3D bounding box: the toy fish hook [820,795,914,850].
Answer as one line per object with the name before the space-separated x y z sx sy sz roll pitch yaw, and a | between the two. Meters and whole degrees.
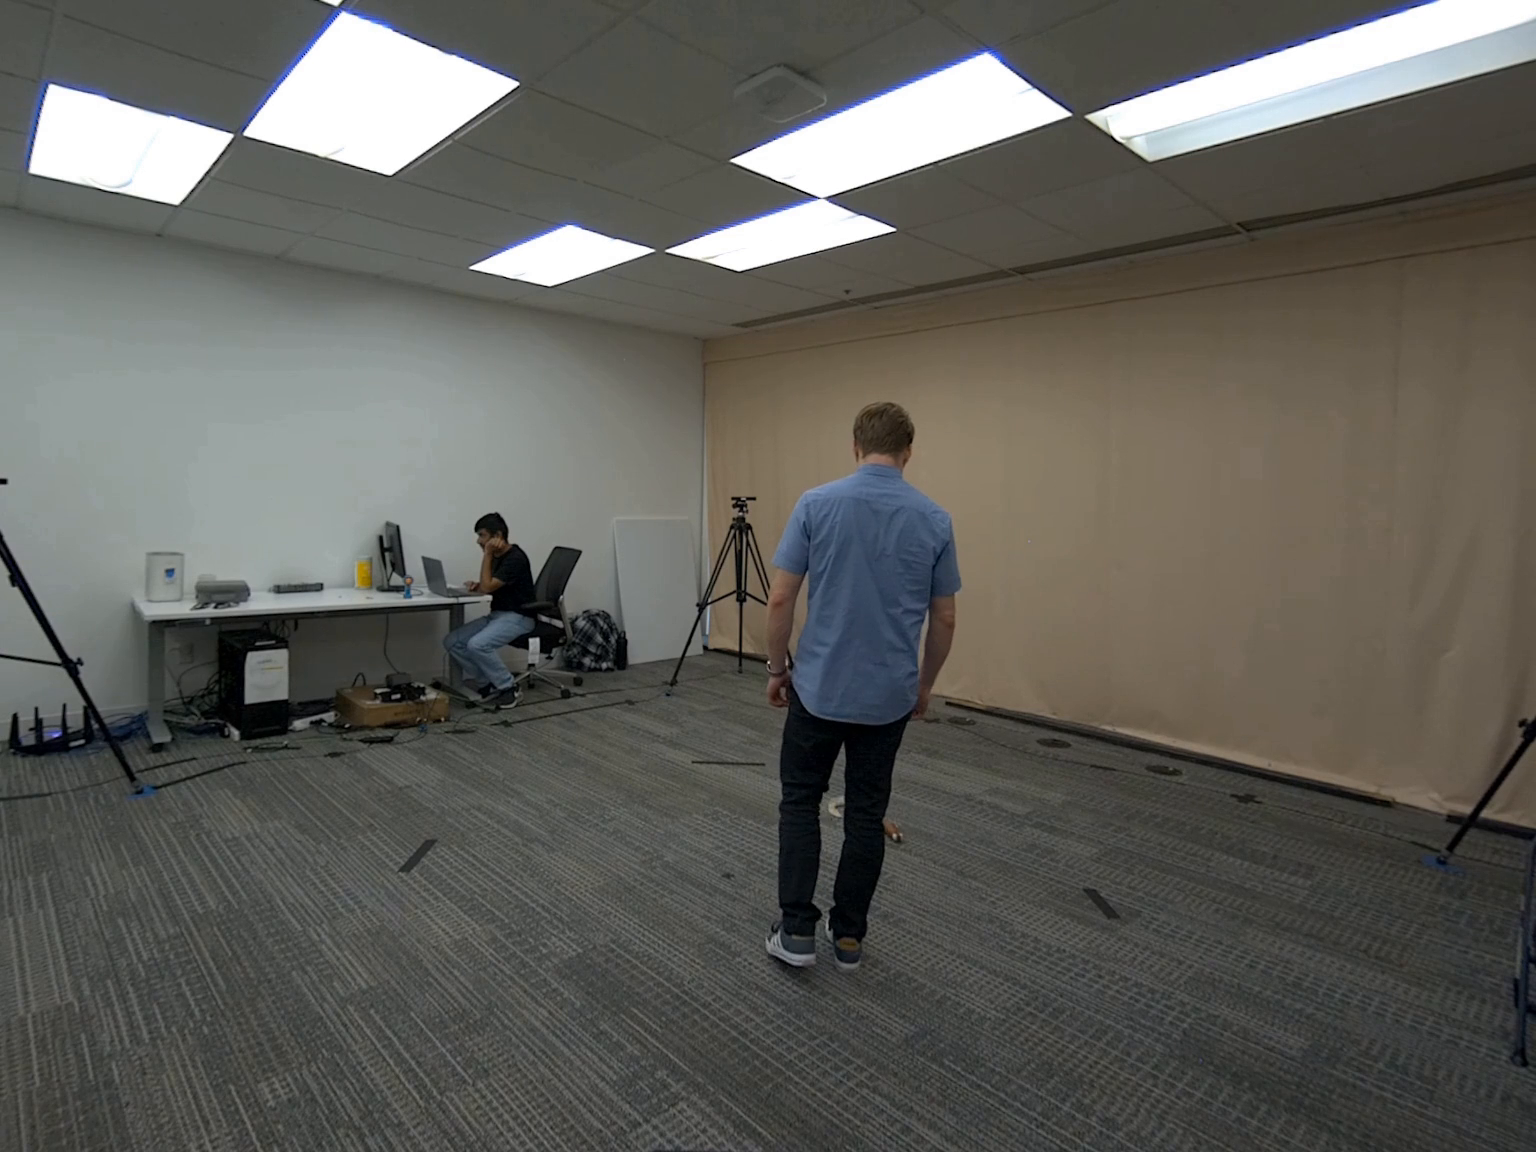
toy fish hook | 0.410 1.059 3.672 0.222 0.048 0.514 -8 6 -15
